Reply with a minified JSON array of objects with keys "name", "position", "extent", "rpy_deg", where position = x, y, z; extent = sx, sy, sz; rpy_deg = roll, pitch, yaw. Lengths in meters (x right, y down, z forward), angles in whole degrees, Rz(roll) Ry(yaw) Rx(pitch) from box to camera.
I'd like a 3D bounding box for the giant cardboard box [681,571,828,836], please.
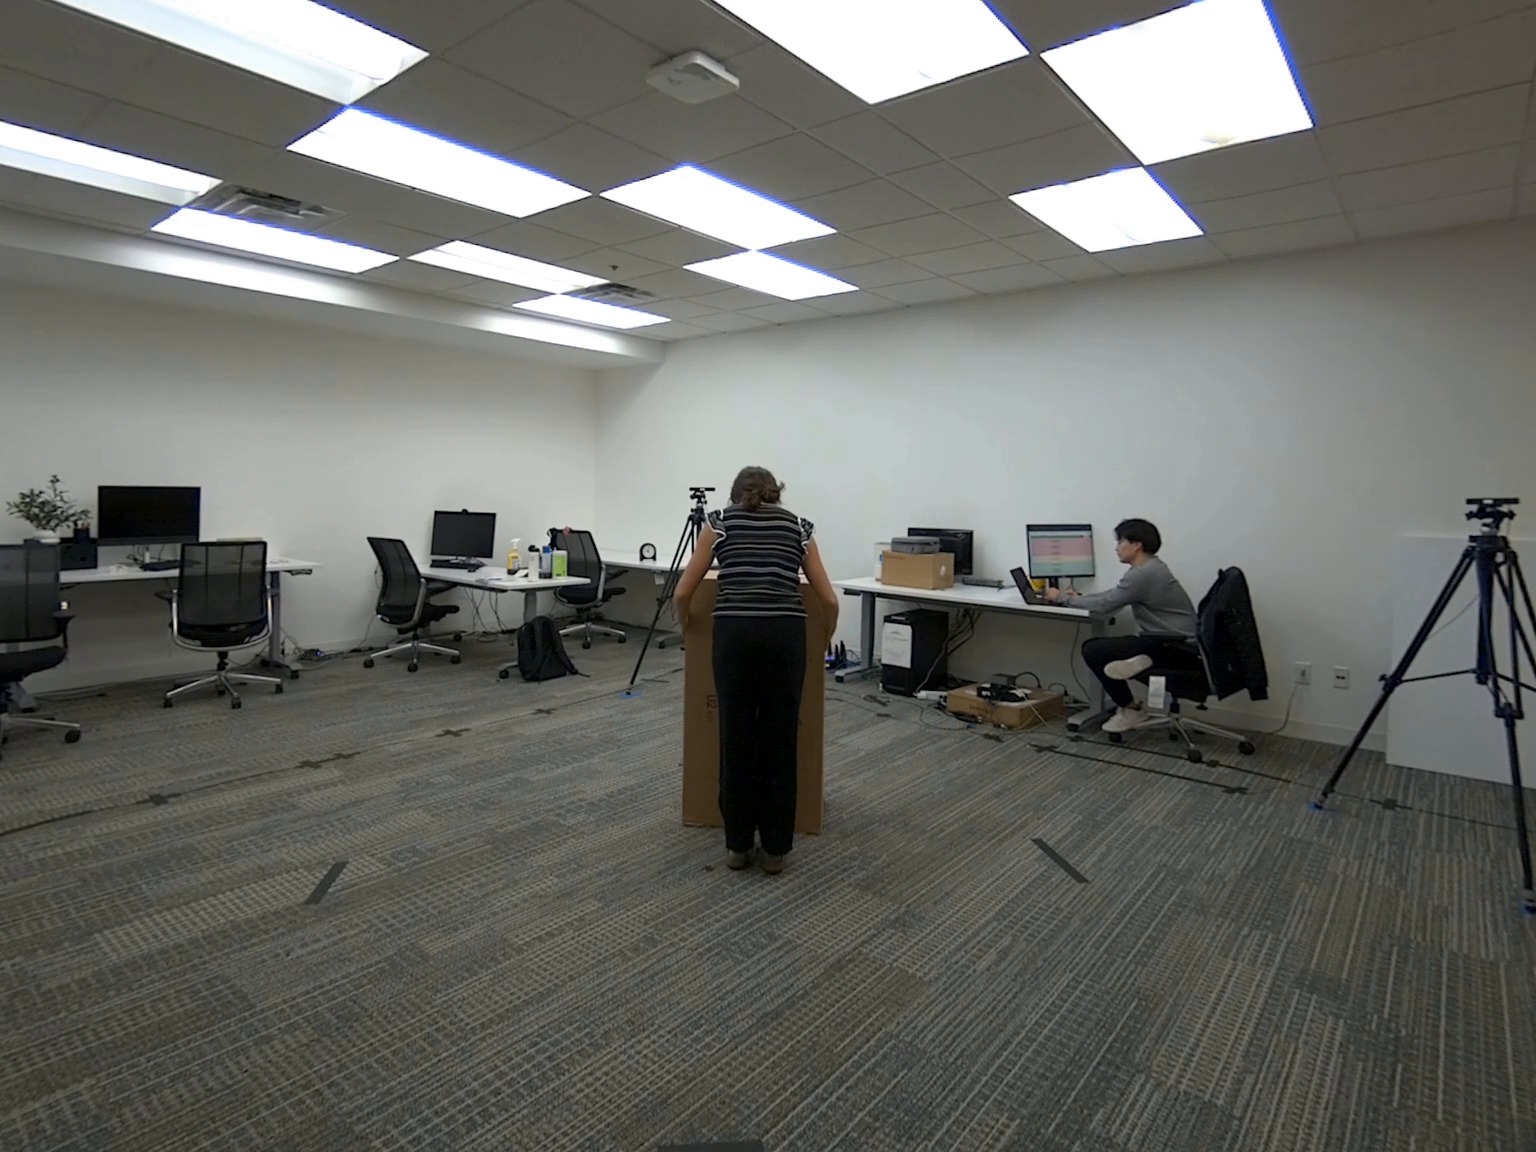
[{"name":"giant cardboard box","position":[-0.058,0.508,3.668],"extent":[0.582,1.024,0.424],"rpy_deg":[1,2,6]}]
